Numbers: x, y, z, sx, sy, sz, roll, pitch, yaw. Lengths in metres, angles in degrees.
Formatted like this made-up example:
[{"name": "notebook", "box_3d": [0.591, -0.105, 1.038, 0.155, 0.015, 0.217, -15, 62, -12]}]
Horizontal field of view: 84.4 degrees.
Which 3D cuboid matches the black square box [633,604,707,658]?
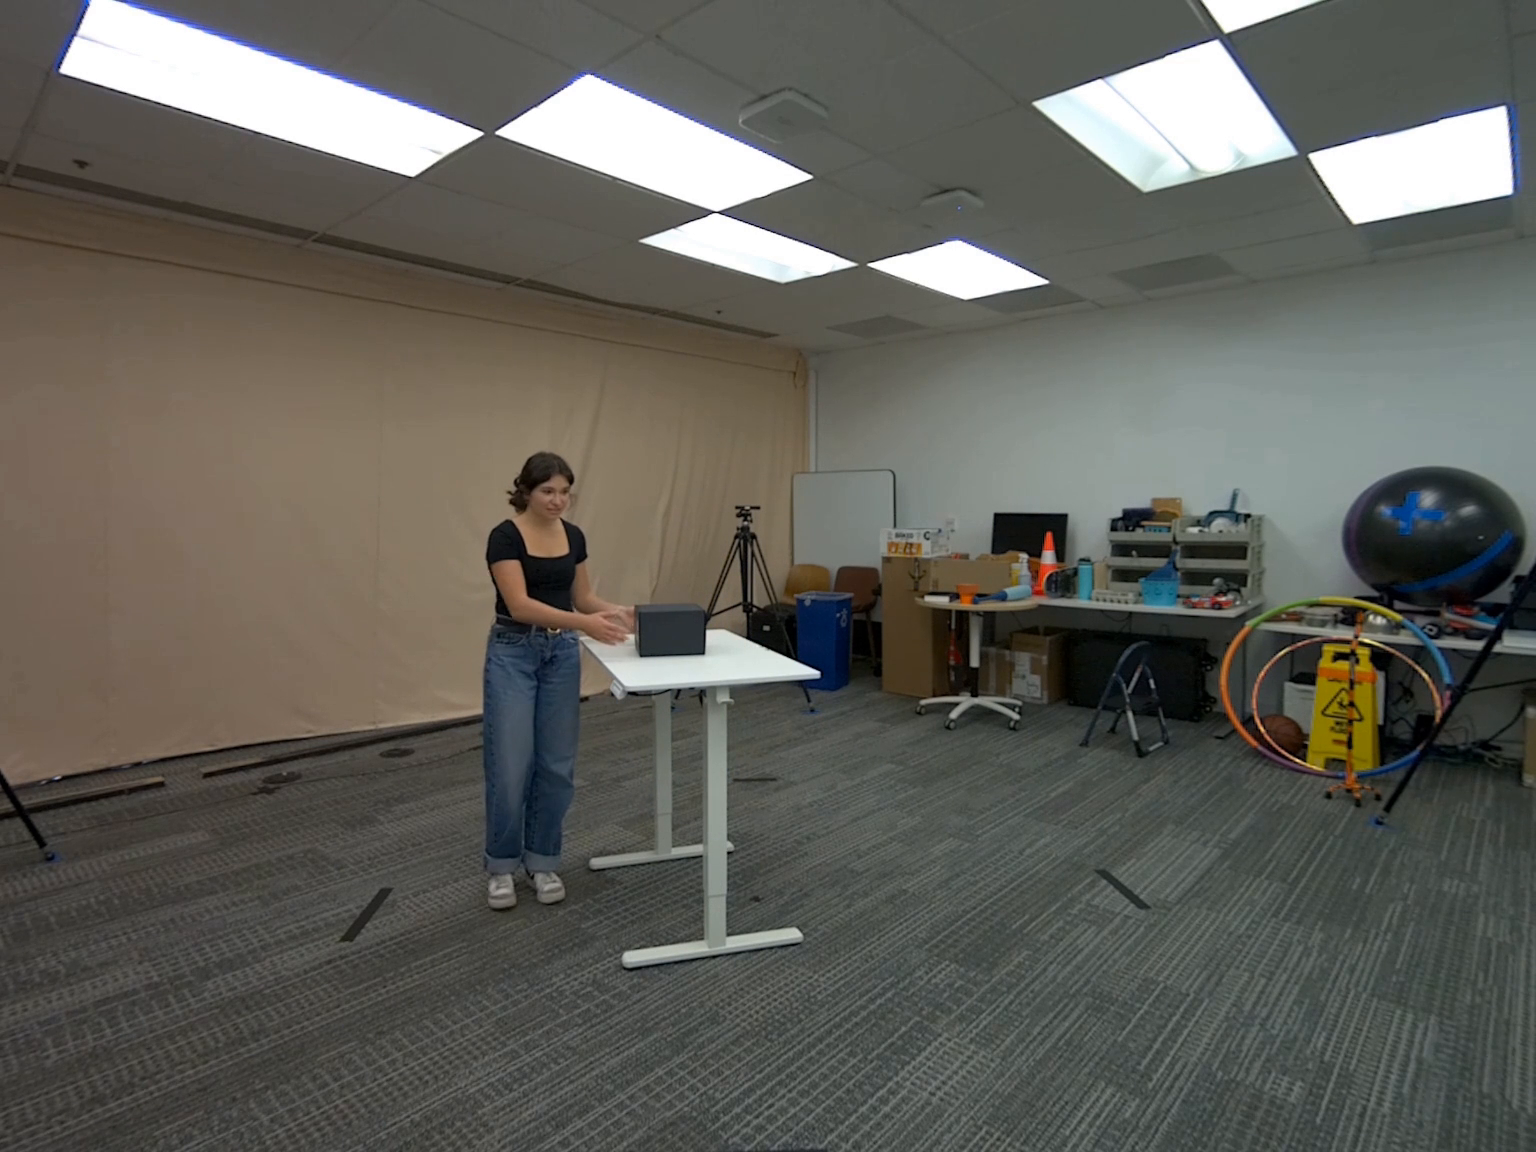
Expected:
[{"name": "black square box", "box_3d": [-0.345, 0.186, 2.969, 0.225, 0.155, 0.220, -2, 4, -10]}]
